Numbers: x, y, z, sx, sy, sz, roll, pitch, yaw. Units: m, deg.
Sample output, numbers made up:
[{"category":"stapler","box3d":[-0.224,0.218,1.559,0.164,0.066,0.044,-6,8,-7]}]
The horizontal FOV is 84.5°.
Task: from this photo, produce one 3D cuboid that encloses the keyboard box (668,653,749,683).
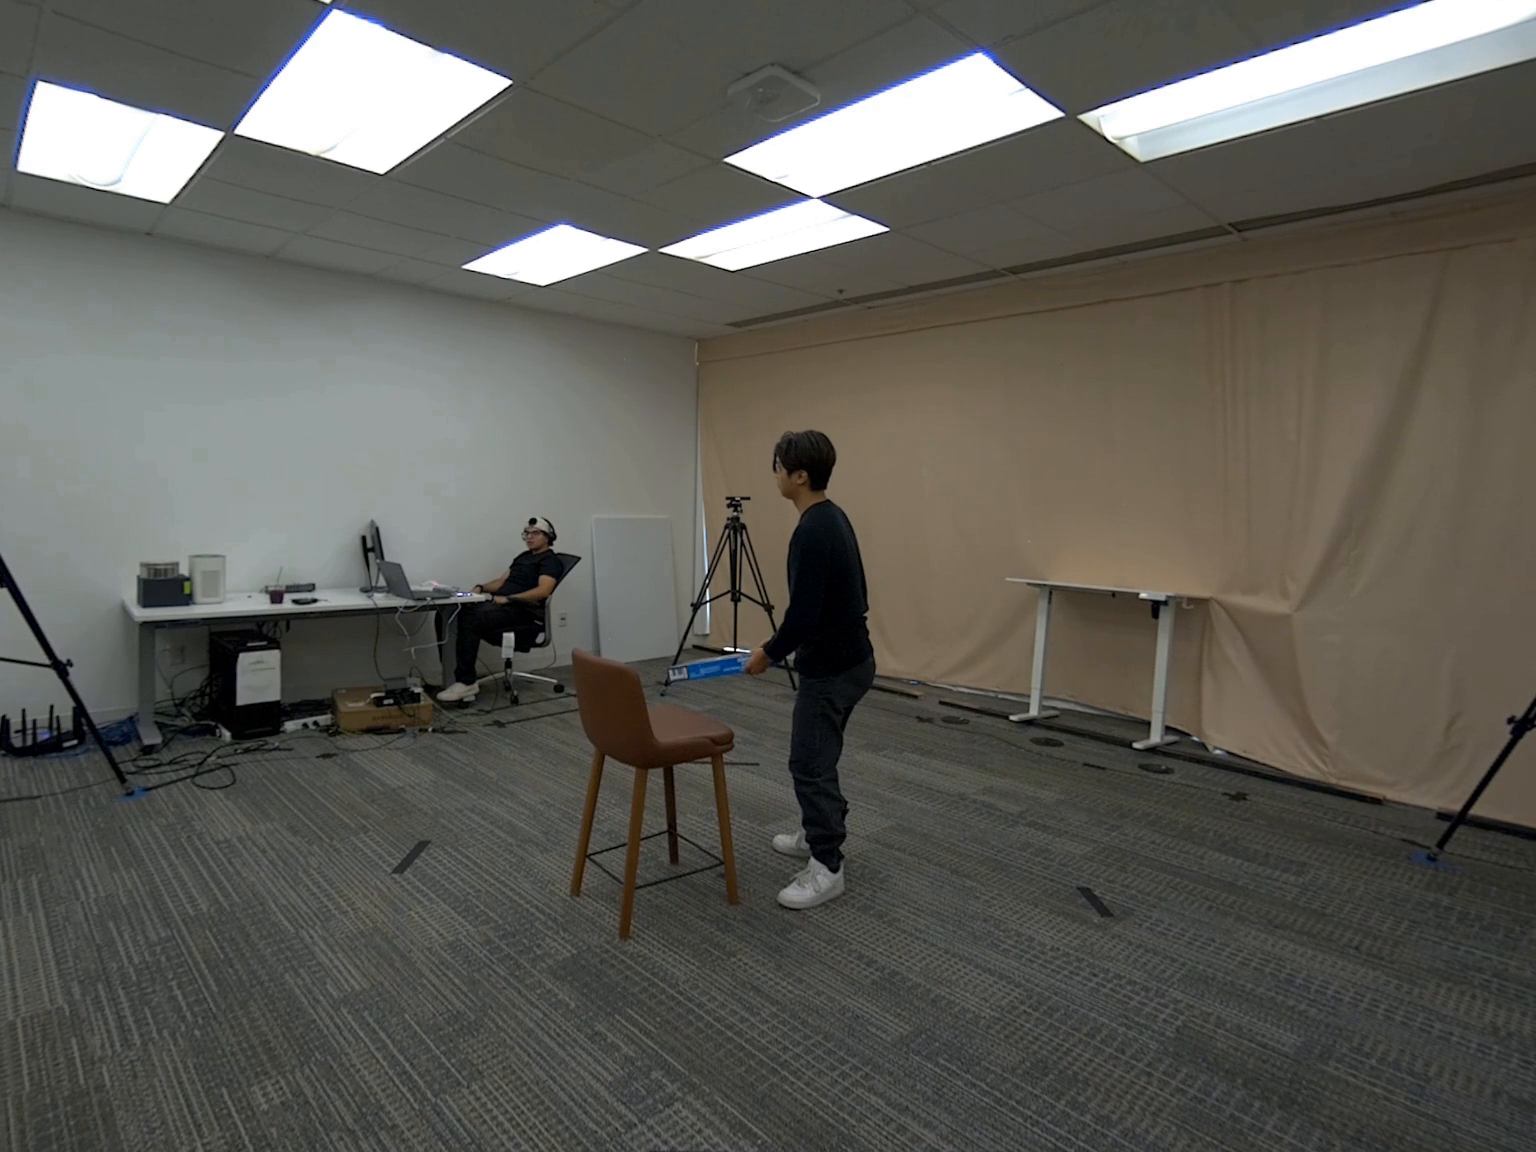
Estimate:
[{"category":"keyboard box","box3d":[-0.176,0.344,3.257,0.444,0.059,0.172,-11,-1,34]}]
